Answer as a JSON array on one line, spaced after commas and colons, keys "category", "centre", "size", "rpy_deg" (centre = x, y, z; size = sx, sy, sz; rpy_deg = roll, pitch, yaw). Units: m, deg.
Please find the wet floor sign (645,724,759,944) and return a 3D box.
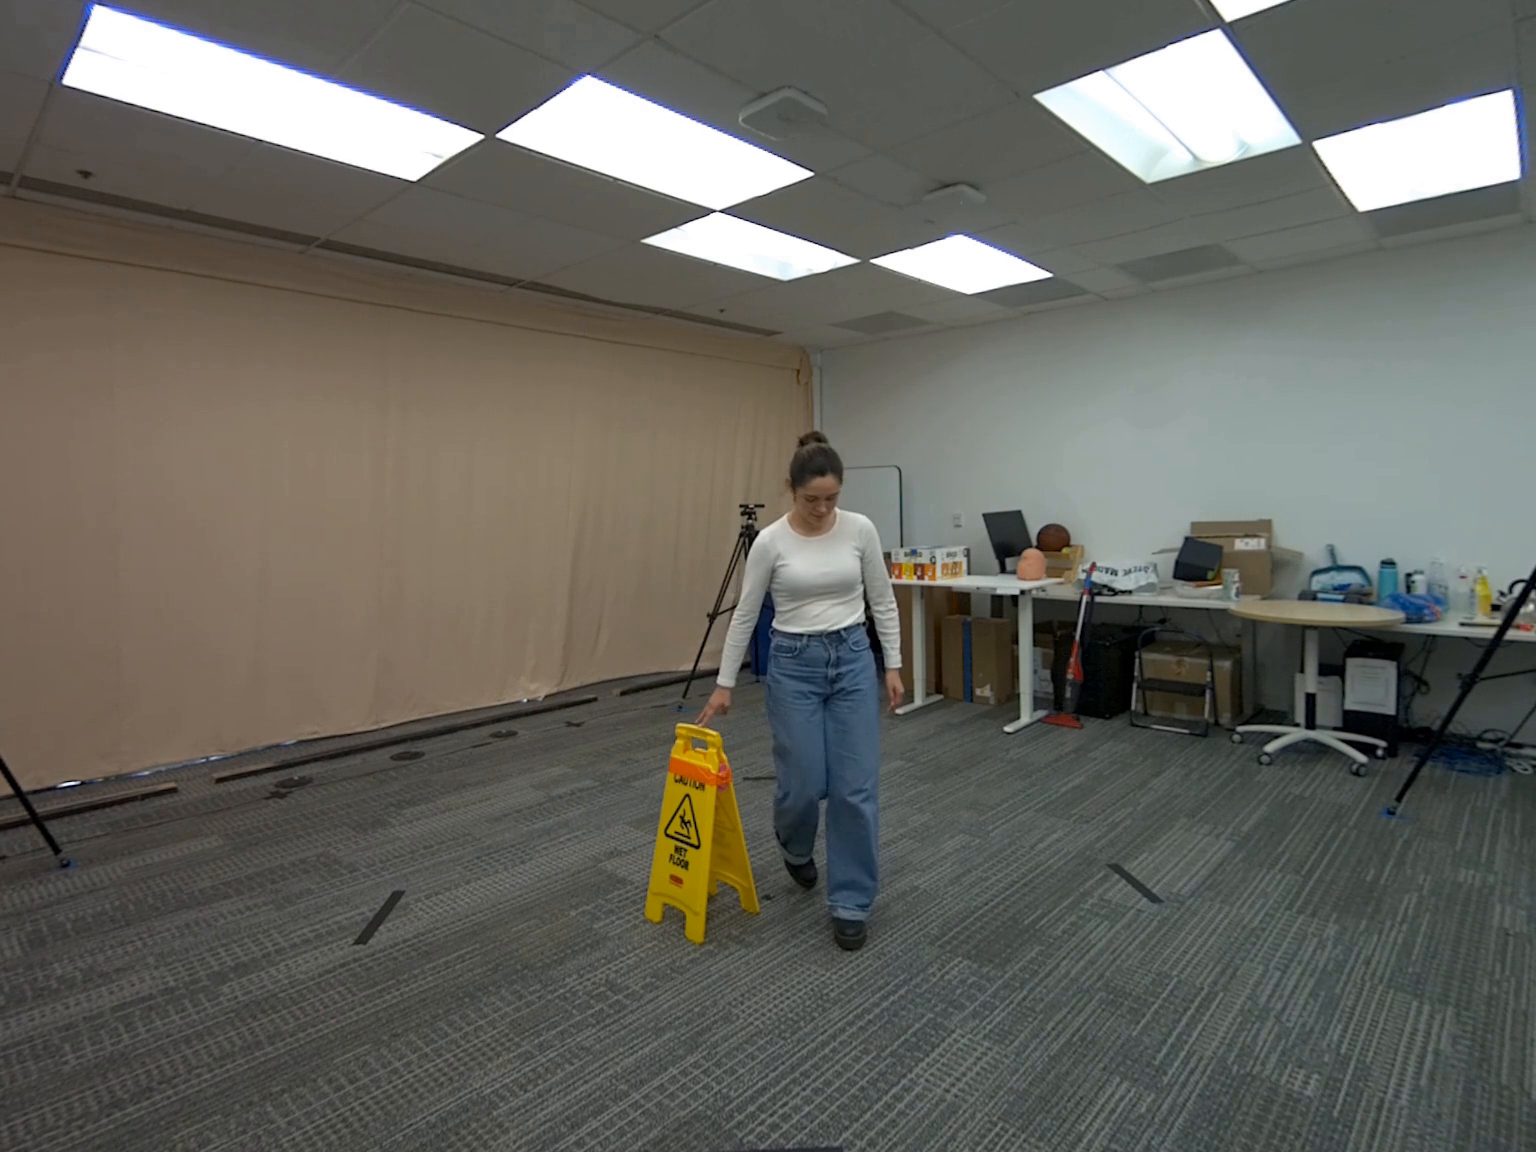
[{"category": "wet floor sign", "centre": [-0.228, 0.835, 2.847], "size": [0.291, 0.645, 0.281], "rpy_deg": [1, 4, 43]}]
